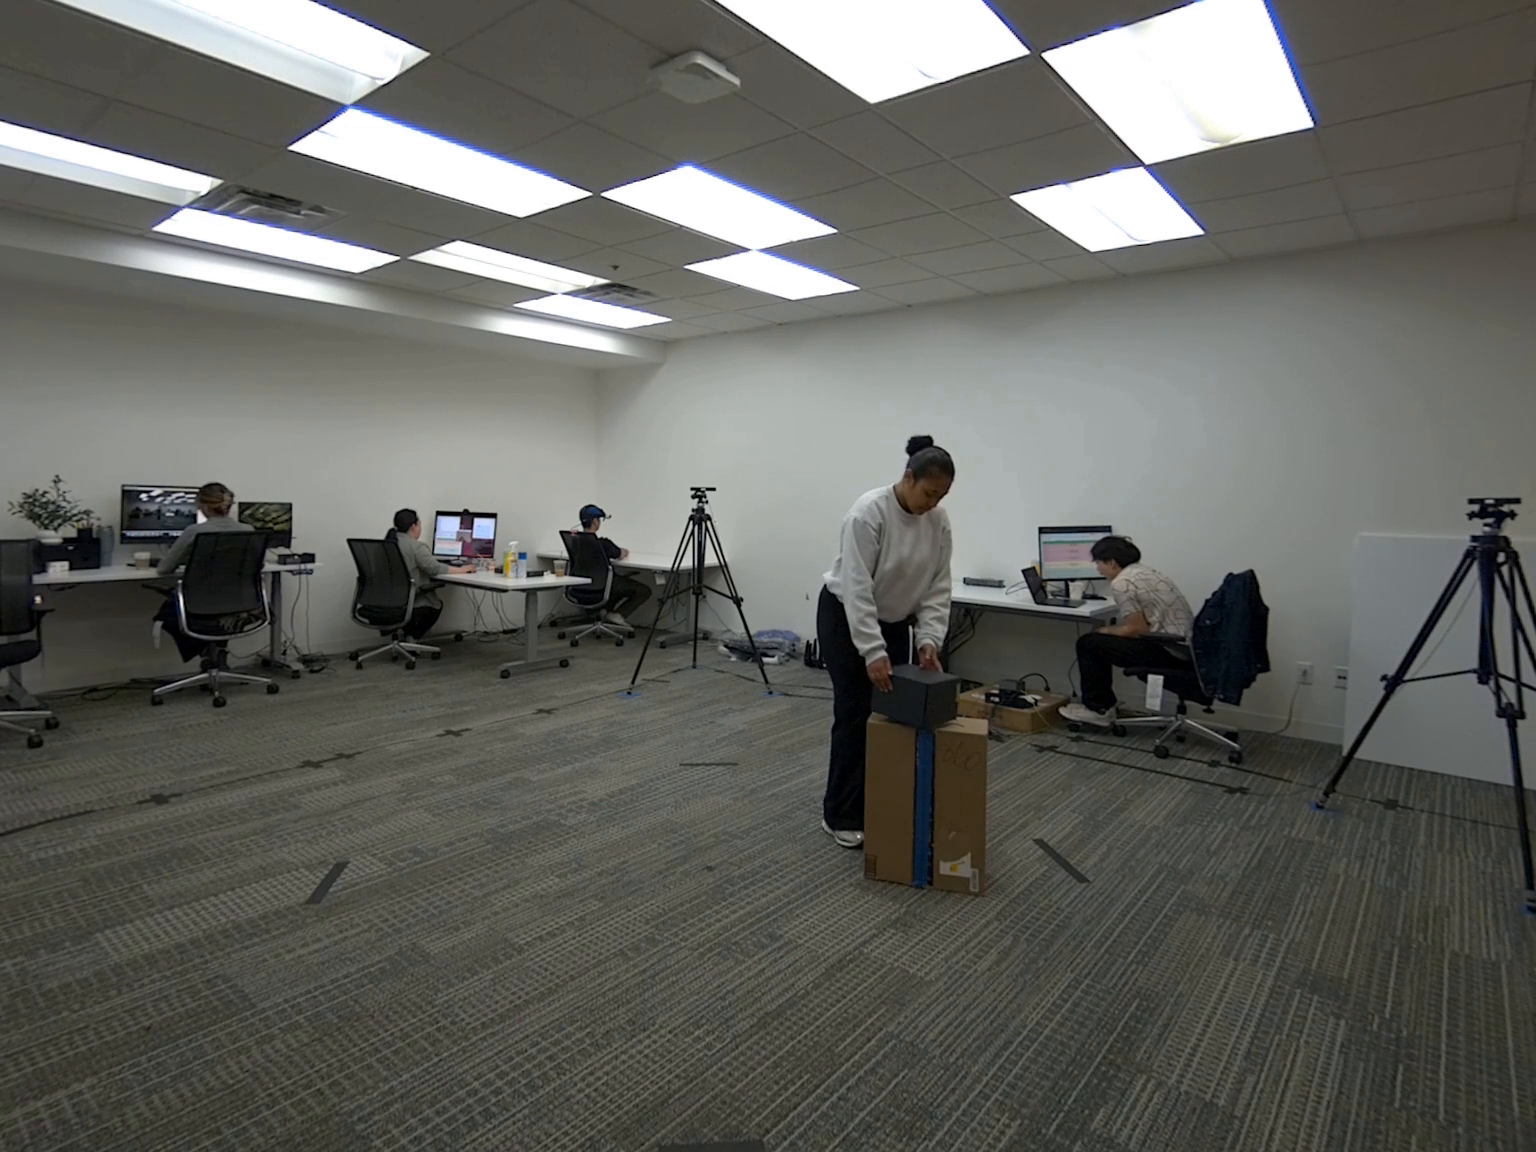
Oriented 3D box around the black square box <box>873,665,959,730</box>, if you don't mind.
[{"bbox_3d":[0.514,0.413,3.059,0.210,0.155,0.236,0,6,-45],"label":"black square box"}]
